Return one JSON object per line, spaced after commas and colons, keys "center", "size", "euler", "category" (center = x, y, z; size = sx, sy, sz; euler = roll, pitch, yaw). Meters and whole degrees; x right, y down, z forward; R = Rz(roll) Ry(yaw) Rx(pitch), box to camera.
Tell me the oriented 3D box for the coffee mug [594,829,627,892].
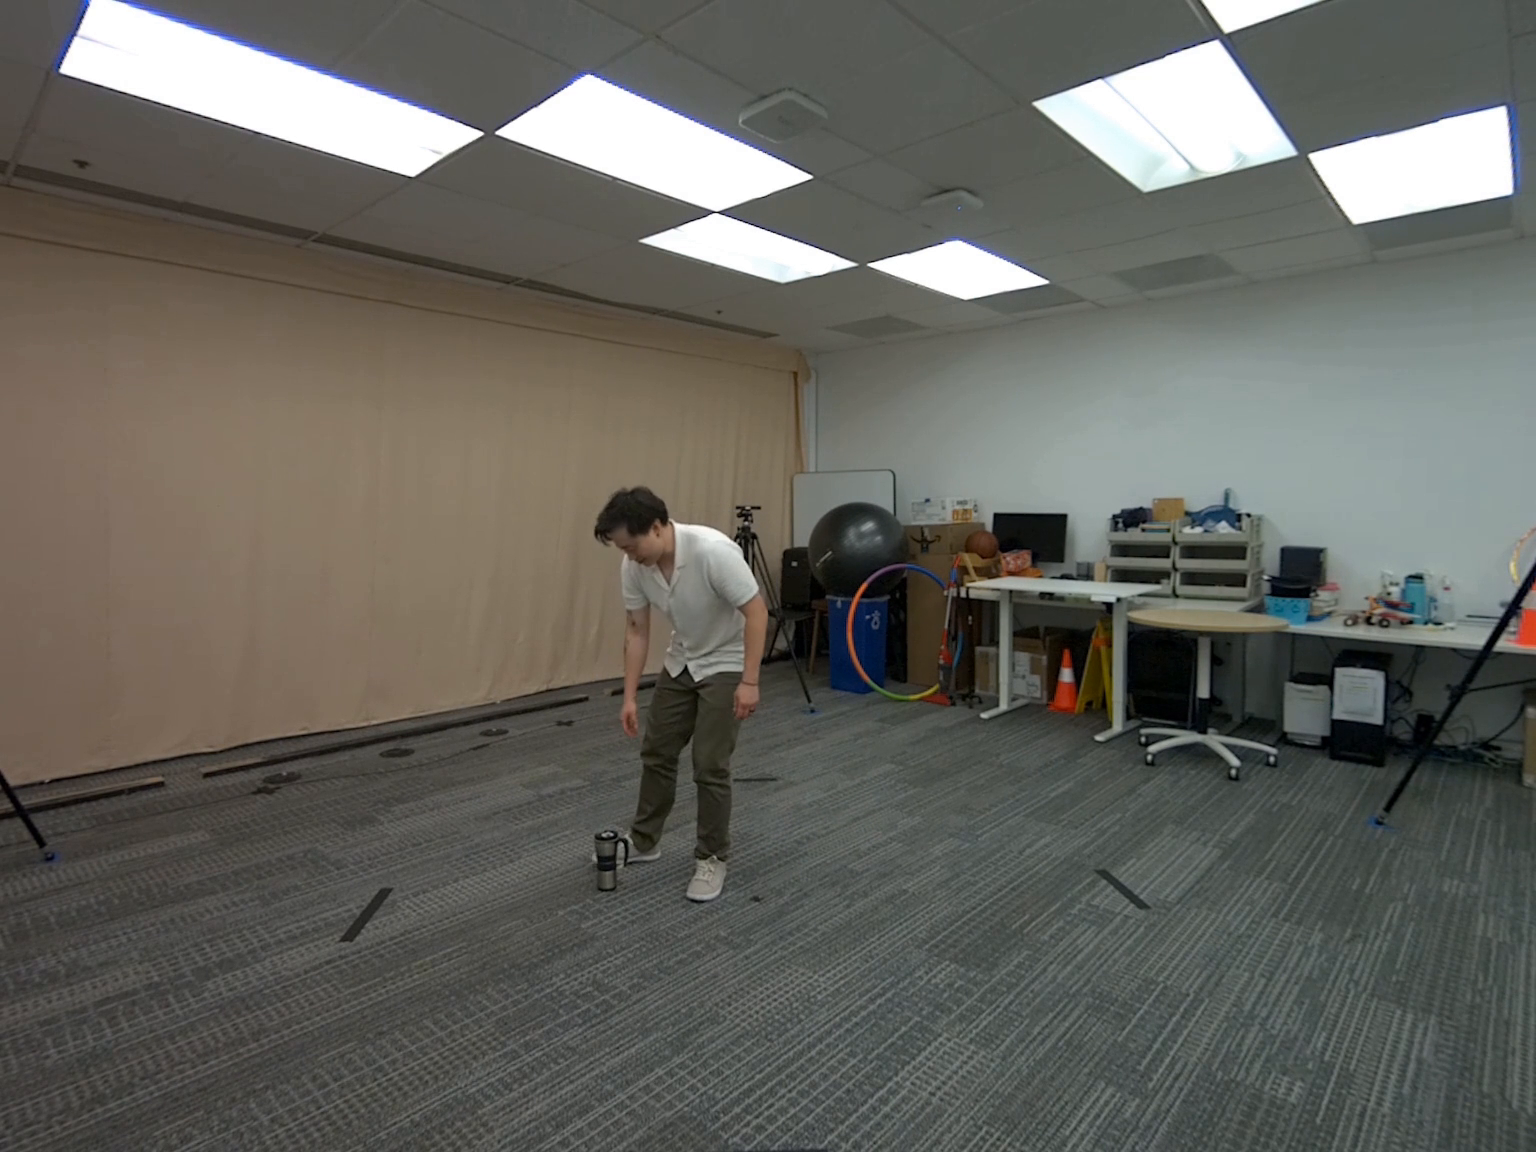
{"center": [-0.575, 1.050, 3.059], "size": [0.125, 0.203, 0.085], "euler": [-2, -5, 31], "category": "coffee mug"}
